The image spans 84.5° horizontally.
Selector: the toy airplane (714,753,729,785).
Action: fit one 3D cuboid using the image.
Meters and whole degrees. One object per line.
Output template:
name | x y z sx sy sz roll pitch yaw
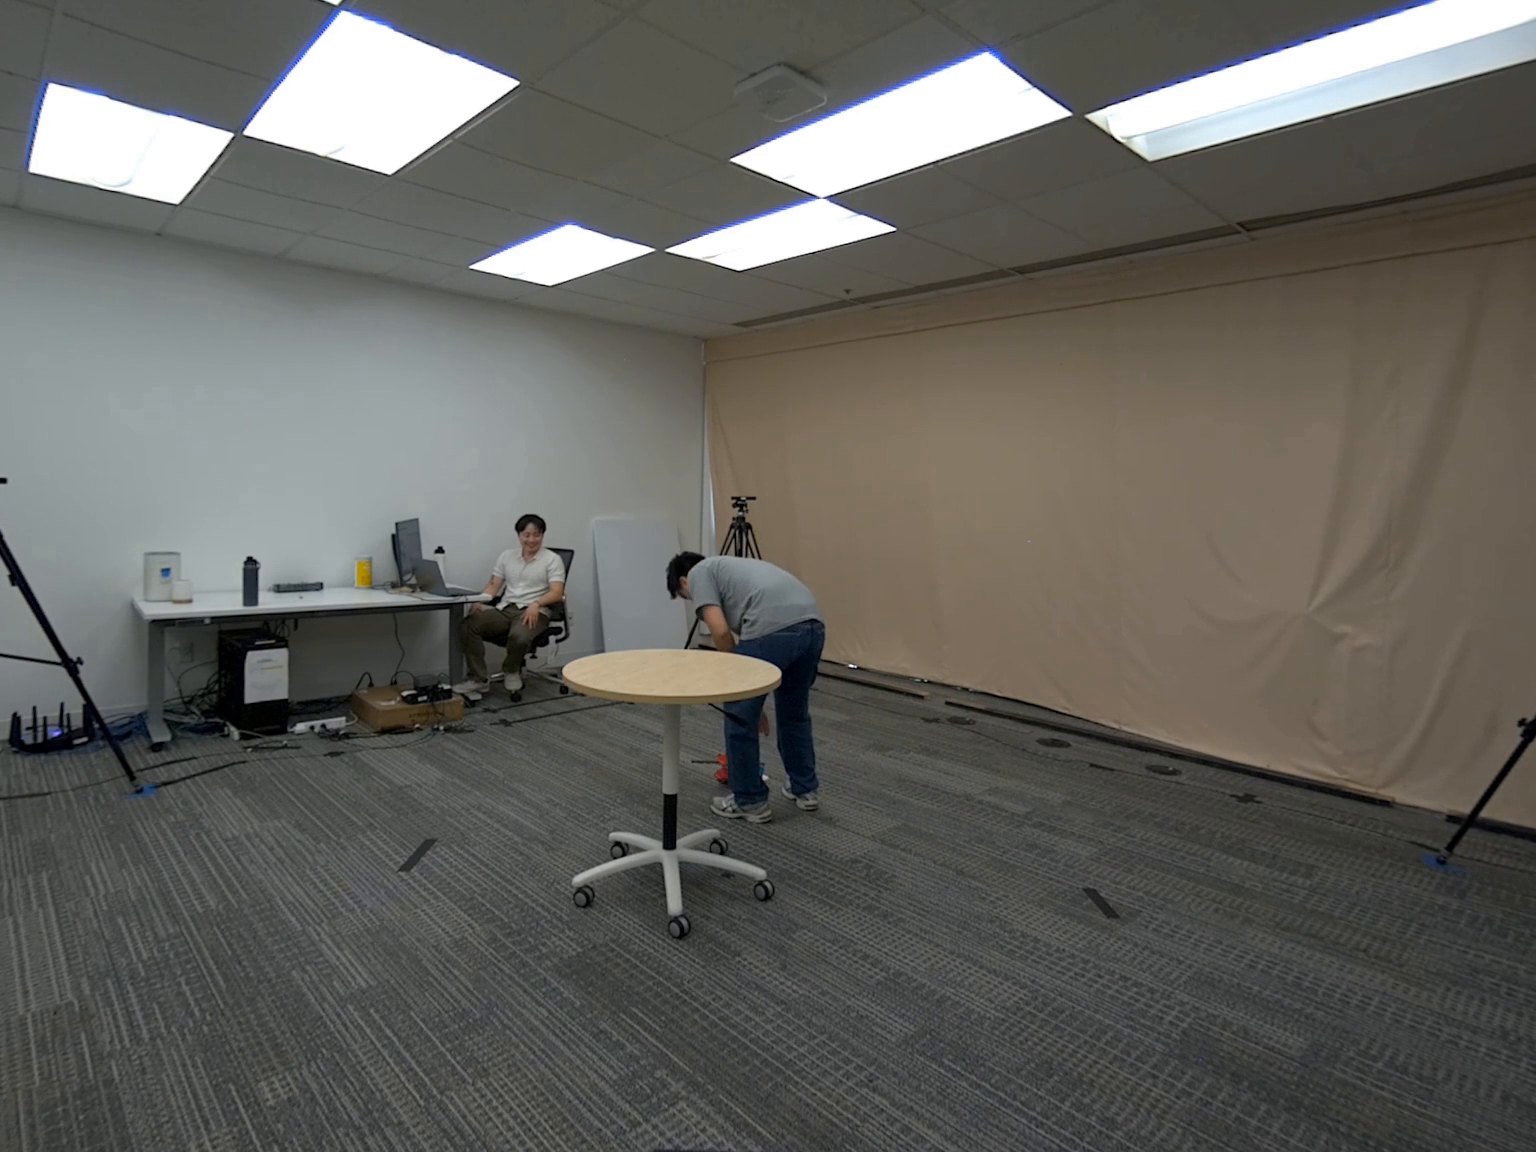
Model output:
toy airplane | -0.132 0.948 4.111 0.262 0.156 0.249 2 5 13
